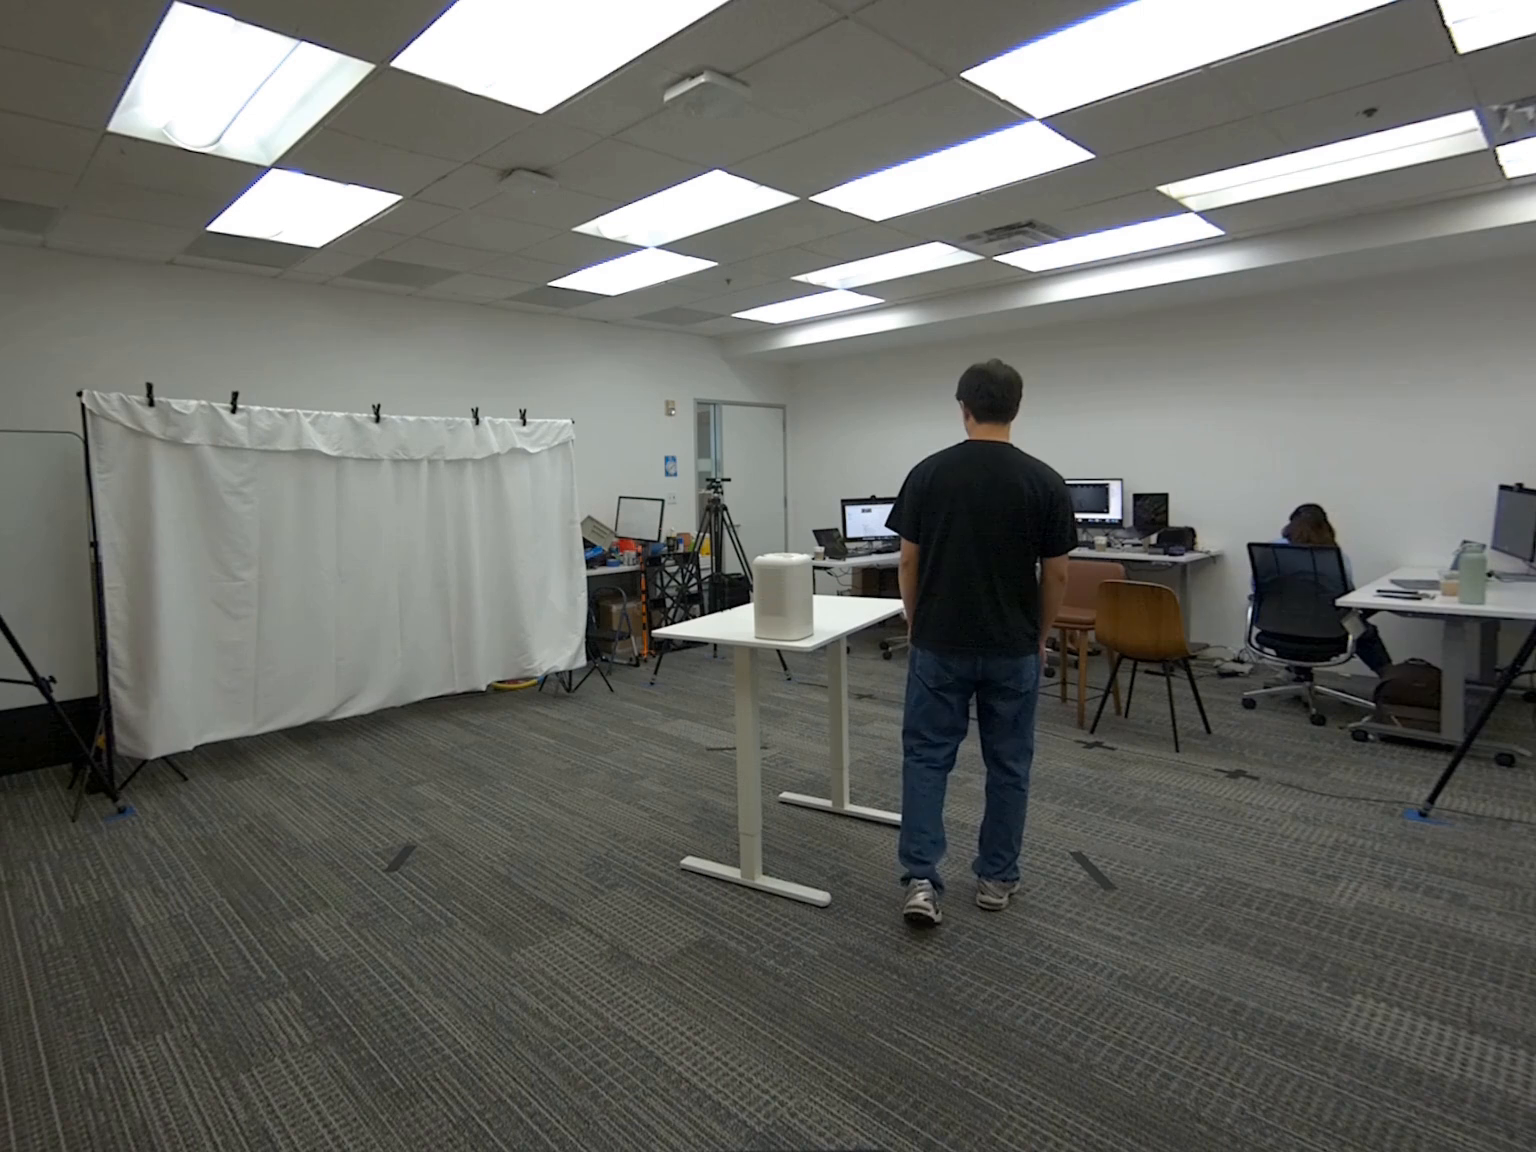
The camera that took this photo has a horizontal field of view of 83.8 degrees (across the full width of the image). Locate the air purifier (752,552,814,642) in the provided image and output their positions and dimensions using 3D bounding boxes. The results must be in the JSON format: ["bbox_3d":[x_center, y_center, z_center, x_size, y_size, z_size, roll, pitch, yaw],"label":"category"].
[{"bbox_3d":[0.056,0.062,2.785,0.176,0.264,0.167,2,4,31],"label":"air purifier"}]
